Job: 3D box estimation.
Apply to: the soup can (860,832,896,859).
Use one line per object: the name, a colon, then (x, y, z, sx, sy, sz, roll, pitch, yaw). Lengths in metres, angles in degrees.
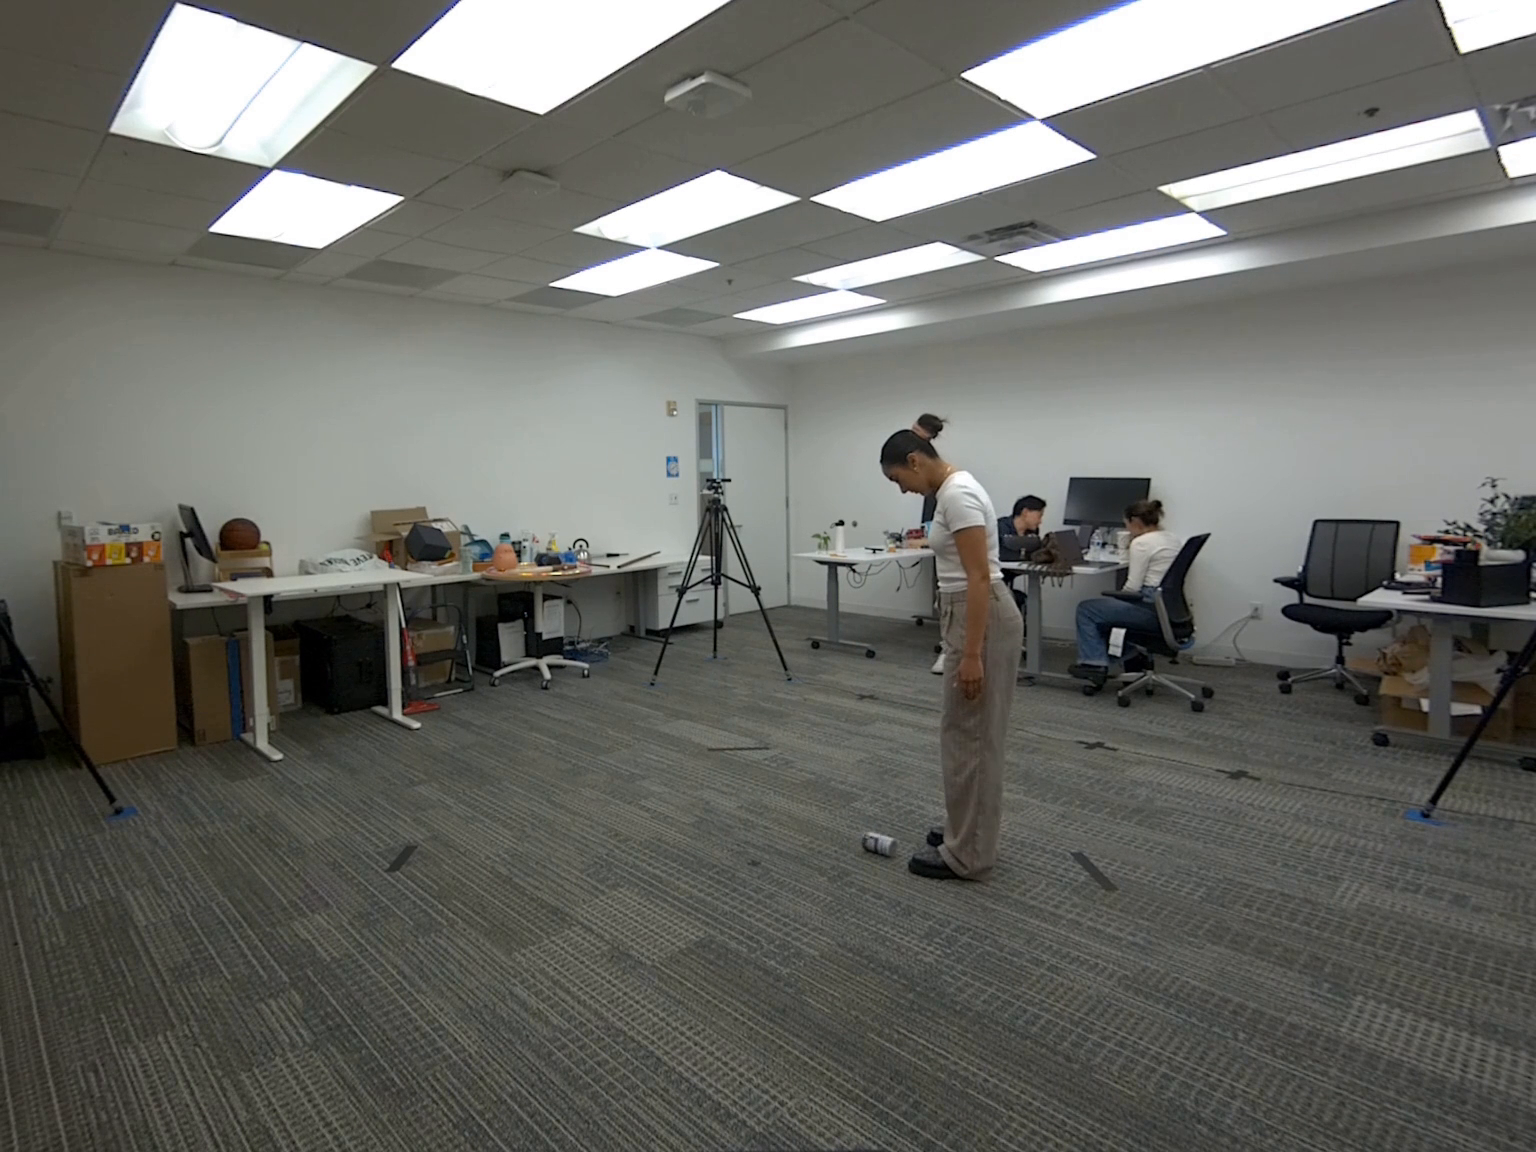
soup can: (0.420, 0.990, 3.176, 0.125, 0.067, 0.065, -1, 4, 36)
